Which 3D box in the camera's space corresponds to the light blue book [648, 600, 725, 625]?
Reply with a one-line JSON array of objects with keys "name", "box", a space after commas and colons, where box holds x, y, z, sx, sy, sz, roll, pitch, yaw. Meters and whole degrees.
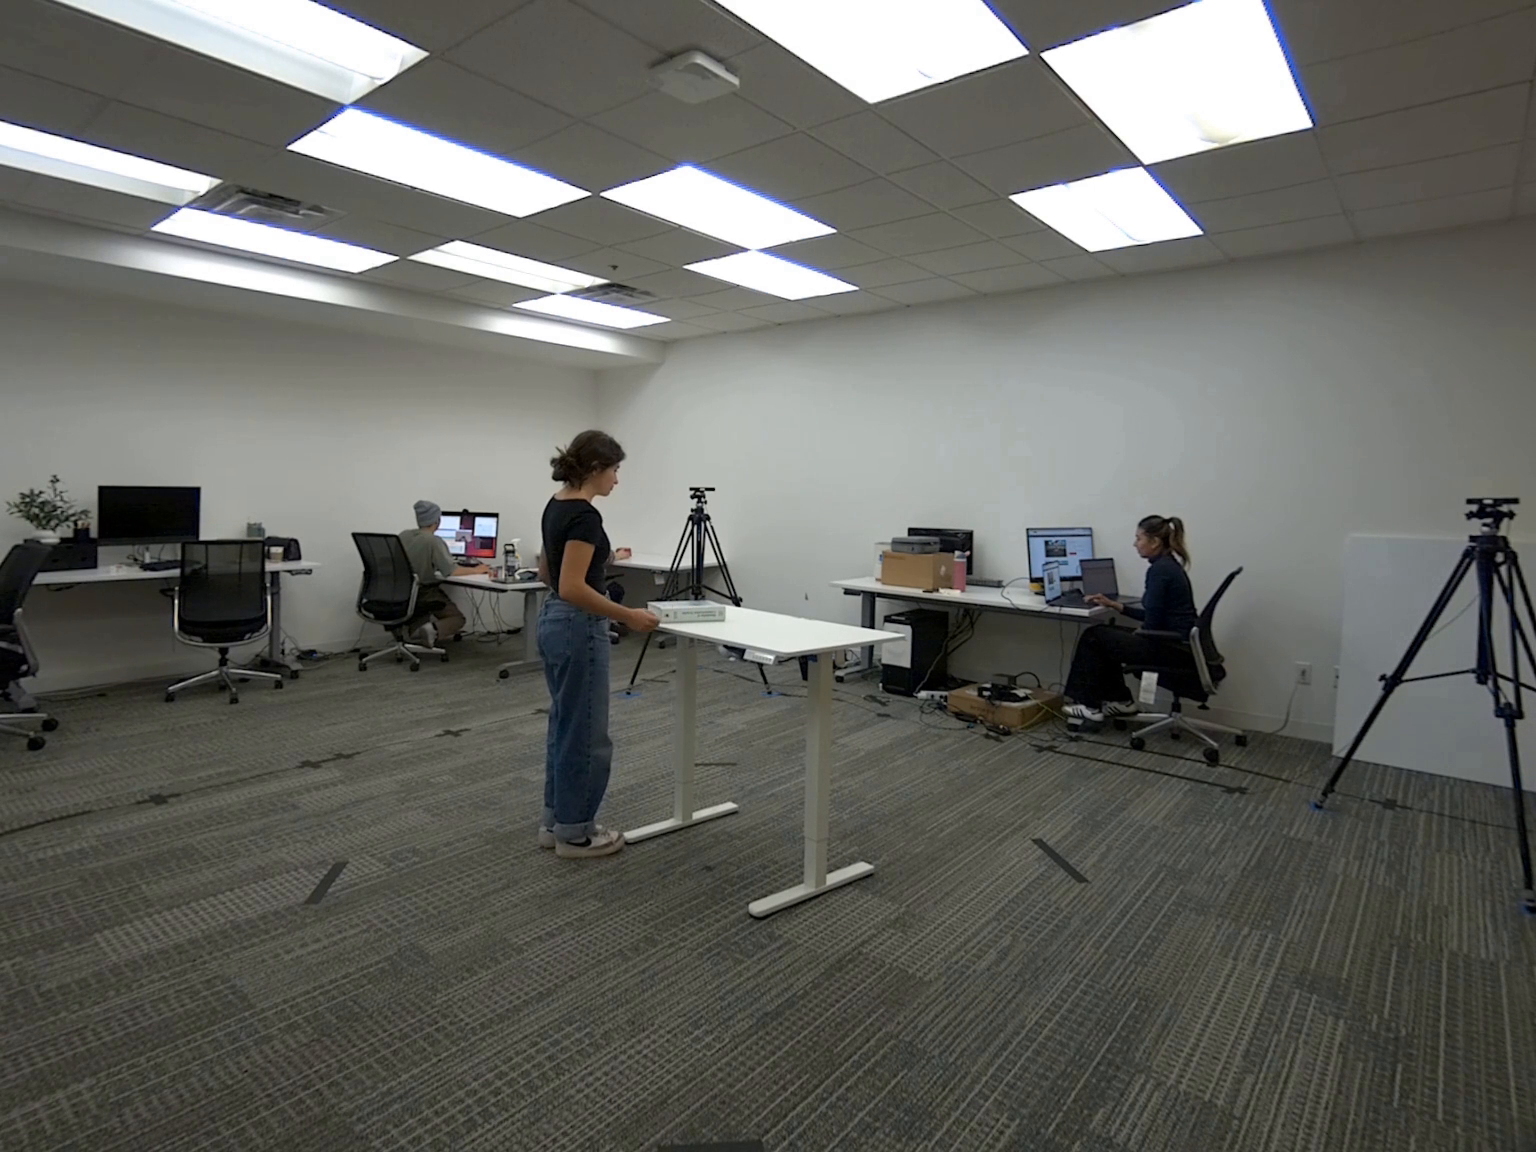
[{"name": "light blue book", "box": [-0.349, 0.140, 3.301, 0.255, 0.059, 0.196, -1, 4, -22]}]
